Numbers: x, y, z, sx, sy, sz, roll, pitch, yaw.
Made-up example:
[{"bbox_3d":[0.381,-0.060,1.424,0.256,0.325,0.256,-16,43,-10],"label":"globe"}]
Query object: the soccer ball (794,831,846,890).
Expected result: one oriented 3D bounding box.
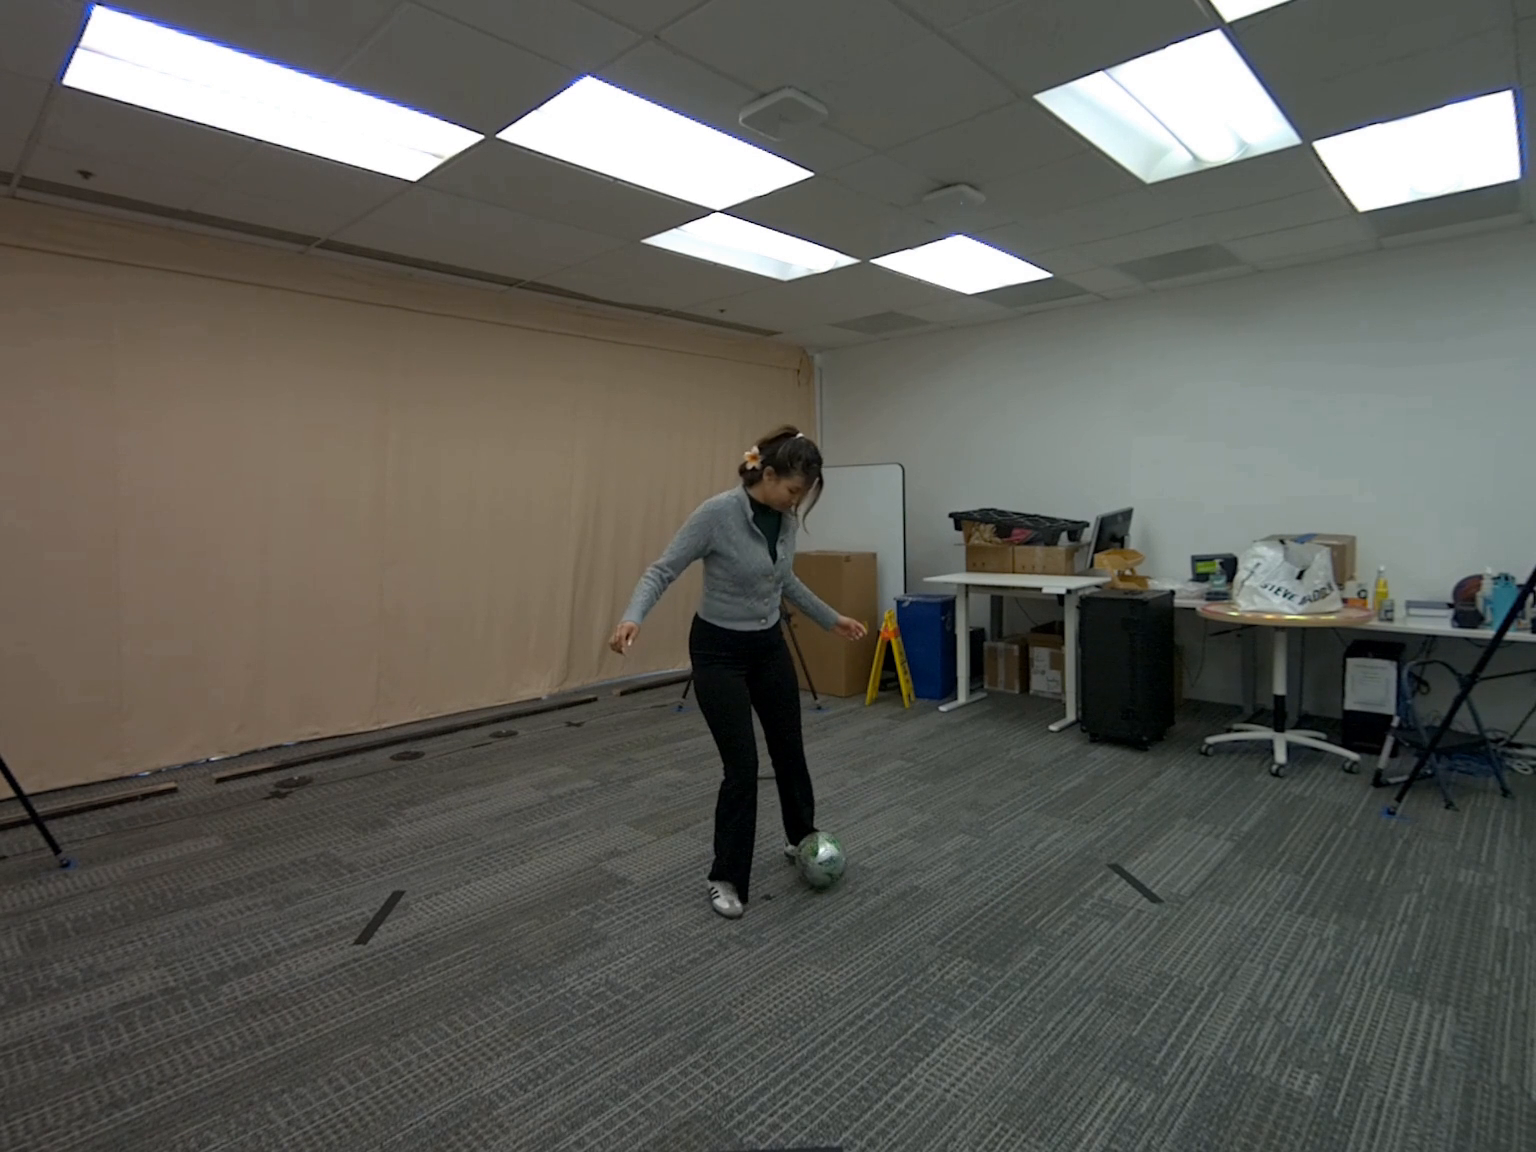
[{"bbox_3d":[0.180,1.021,3.012,0.187,0.187,0.188,-1,4,-2],"label":"soccer ball"}]
